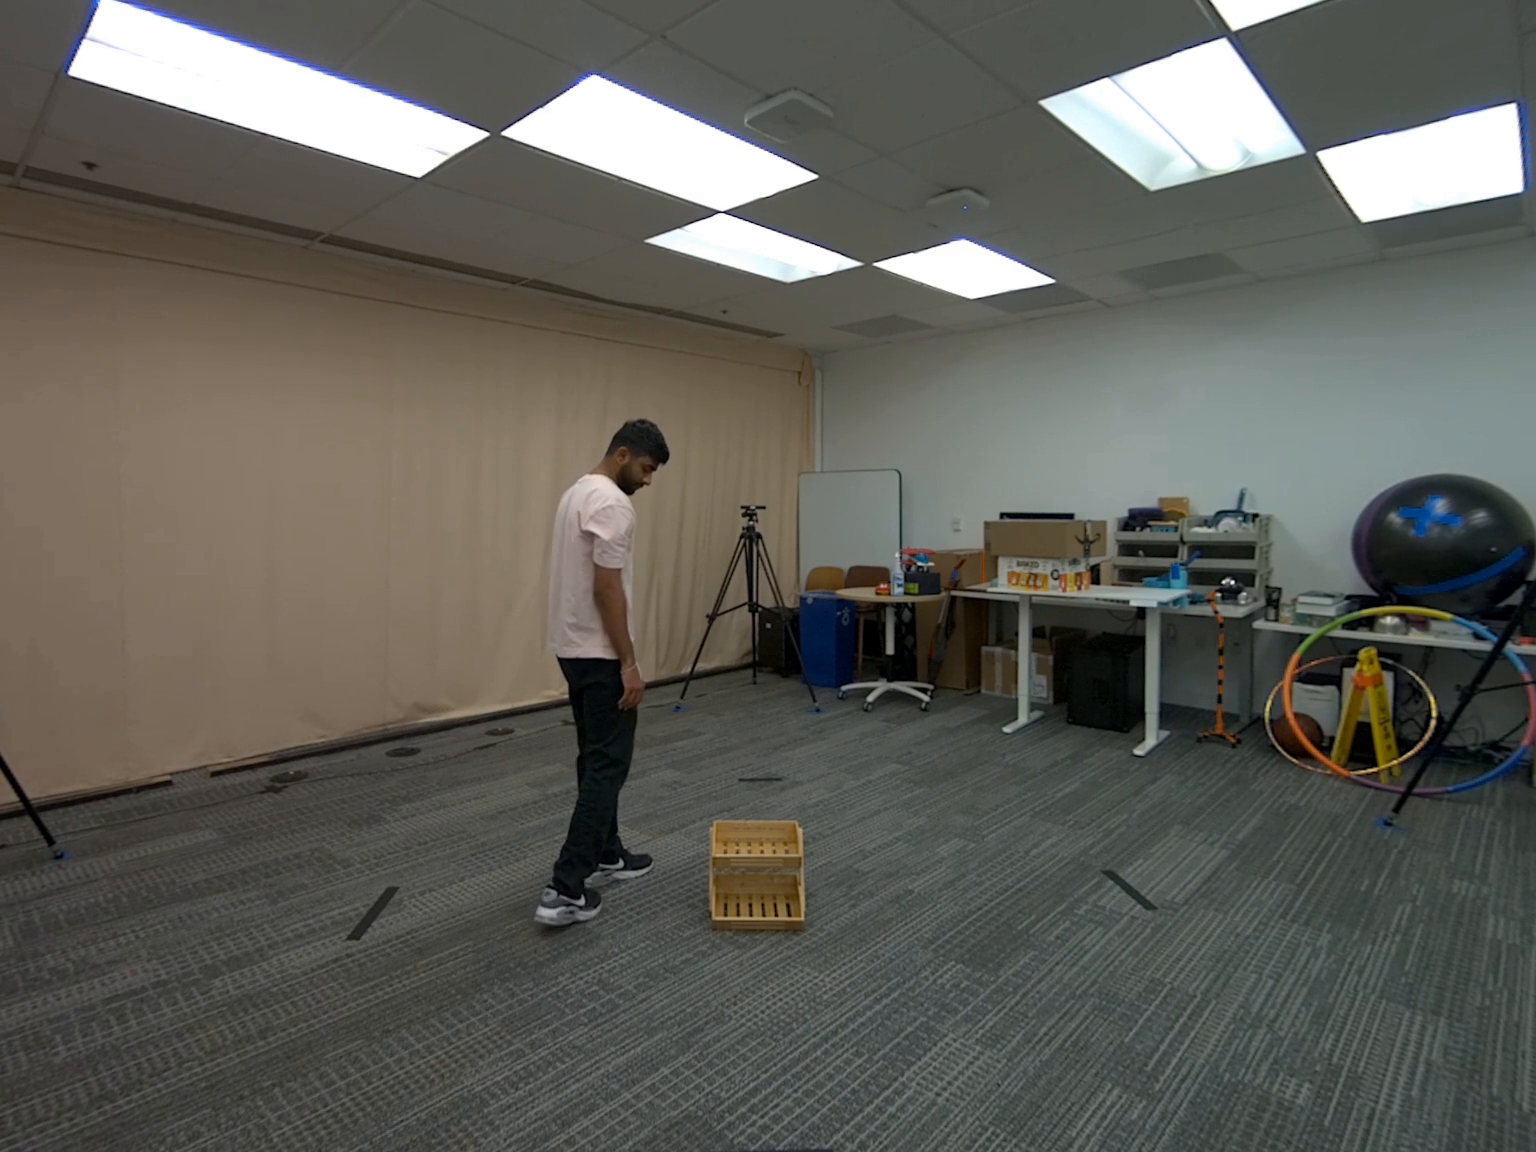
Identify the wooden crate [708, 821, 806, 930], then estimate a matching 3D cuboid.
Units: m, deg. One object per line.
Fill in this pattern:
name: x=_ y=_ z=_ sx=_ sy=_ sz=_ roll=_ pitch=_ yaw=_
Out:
wooden crate: x=-0.033 y=1.022 z=2.875 sx=0.324 sy=0.272 sz=0.303 roll=0 pitch=4 yaw=-2
